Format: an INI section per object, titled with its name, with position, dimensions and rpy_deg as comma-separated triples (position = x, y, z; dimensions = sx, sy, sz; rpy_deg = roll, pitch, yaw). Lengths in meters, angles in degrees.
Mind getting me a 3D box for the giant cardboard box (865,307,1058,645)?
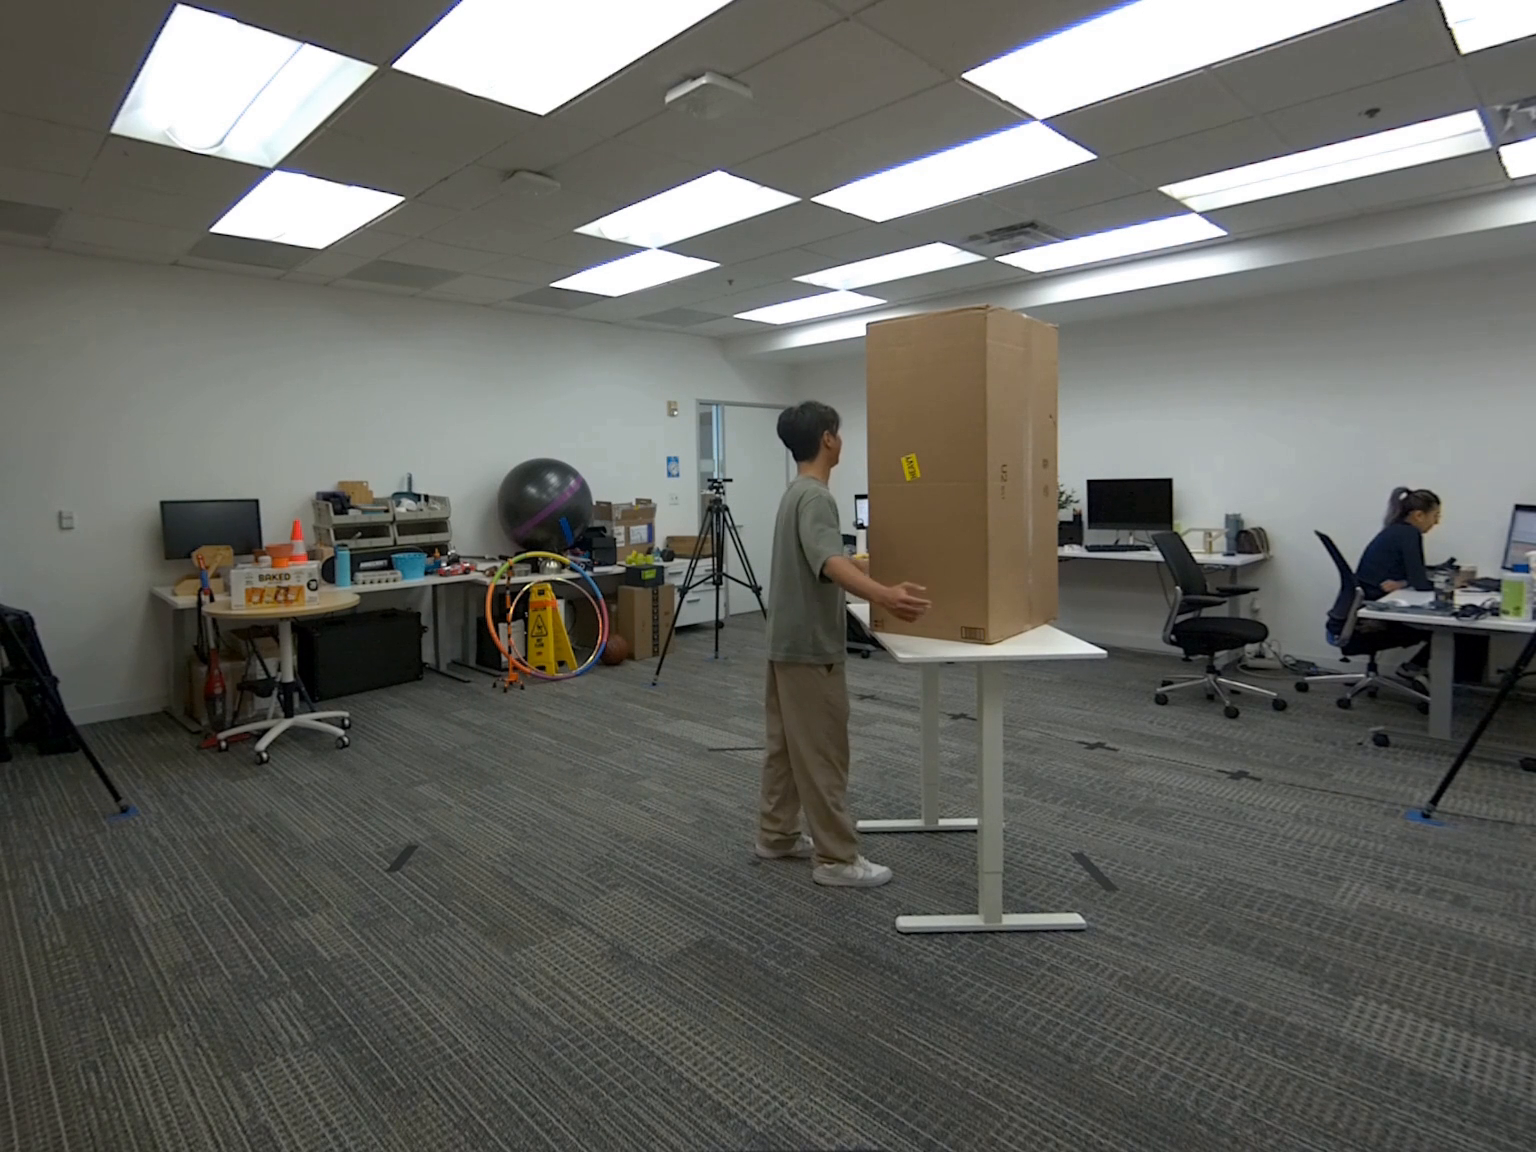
[giant cardboard box]
position = 0.673, -0.341, 2.903
dimensions = 0.439, 1.022, 0.563
rpy_deg = 2, 5, 40
